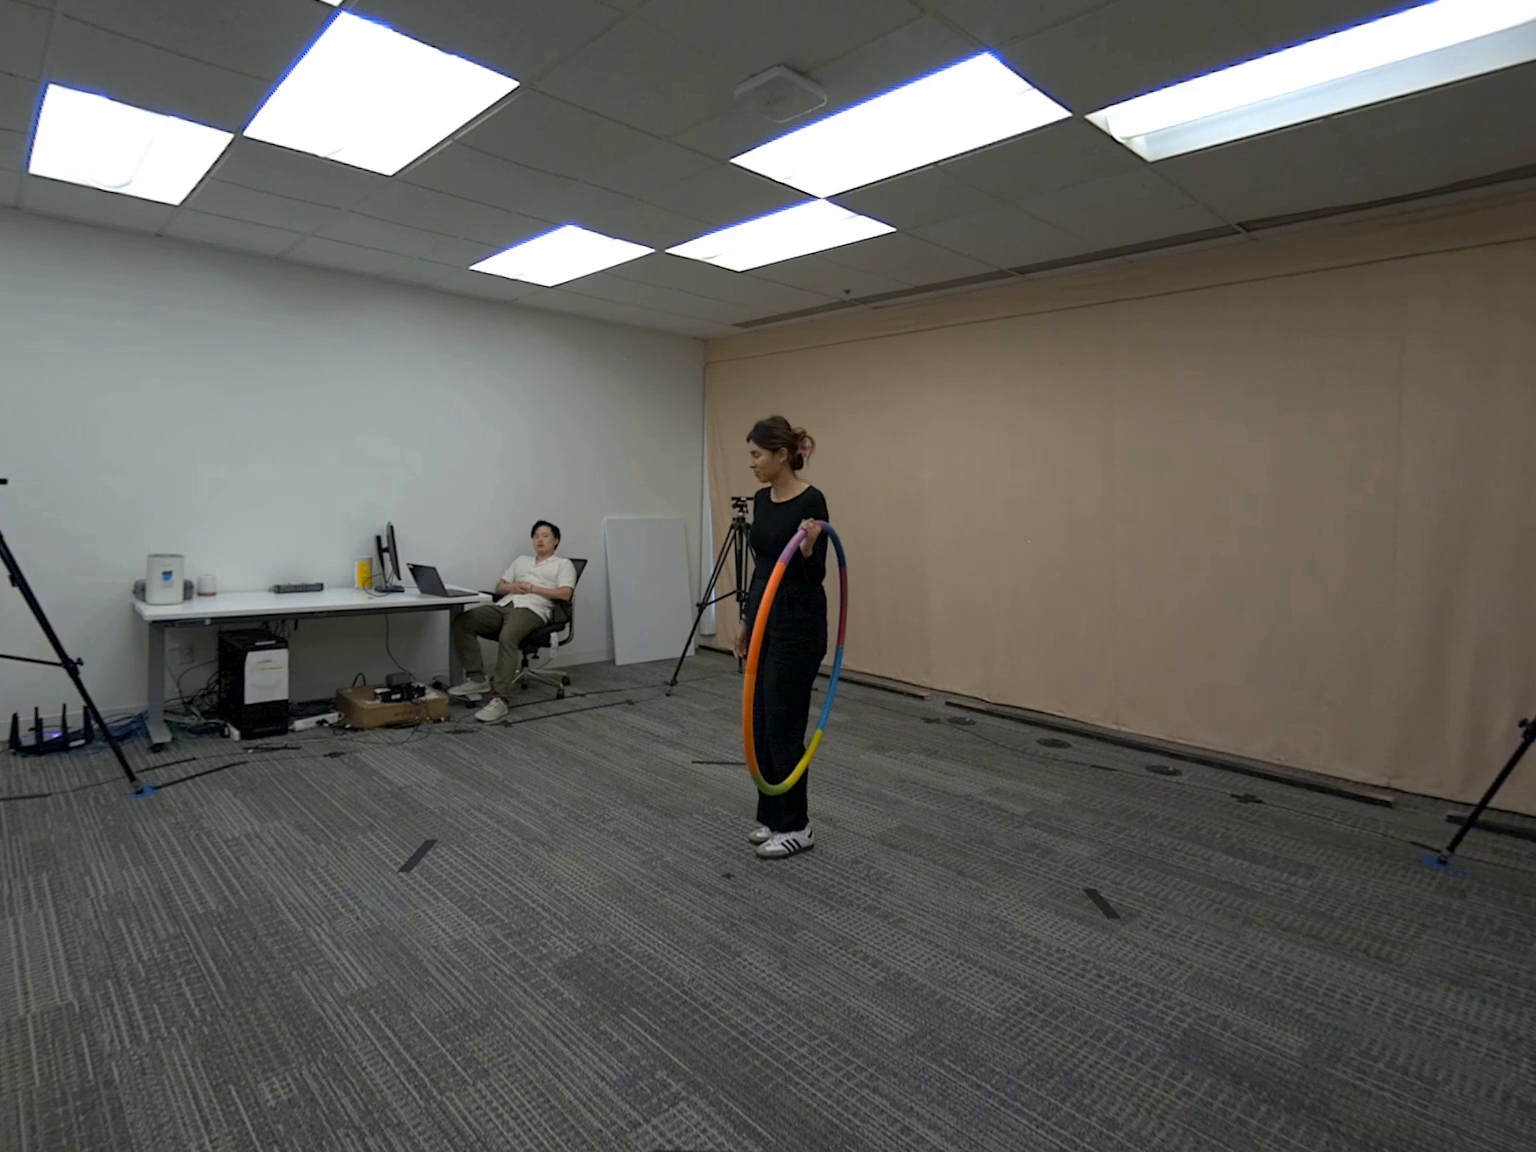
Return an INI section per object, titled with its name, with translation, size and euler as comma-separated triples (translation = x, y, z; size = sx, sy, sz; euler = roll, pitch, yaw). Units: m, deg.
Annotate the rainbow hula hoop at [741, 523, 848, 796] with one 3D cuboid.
[rainbow hula hoop]
translation = 0.118, 0.293, 3.044
size = 0.036, 0.975, 0.963
euler = 8, 7, 22
